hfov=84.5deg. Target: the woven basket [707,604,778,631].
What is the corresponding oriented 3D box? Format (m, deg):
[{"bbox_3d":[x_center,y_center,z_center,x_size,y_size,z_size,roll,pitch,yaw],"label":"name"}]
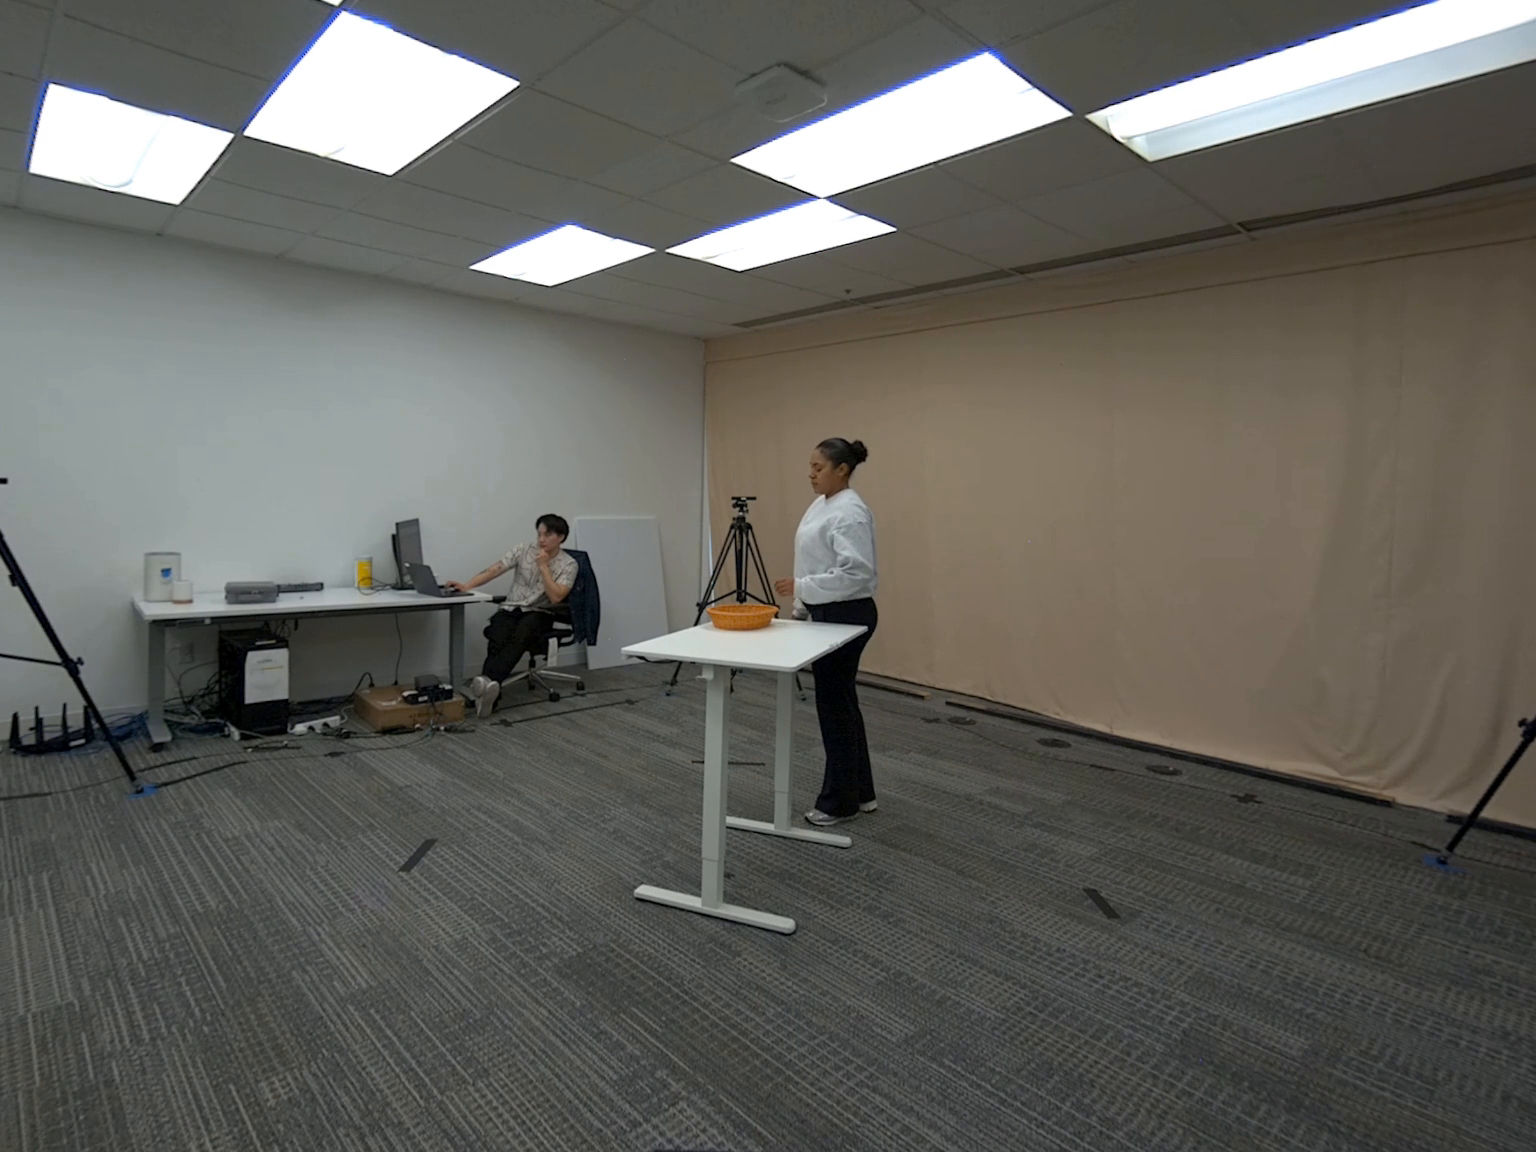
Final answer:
[{"bbox_3d":[-0.113,0.171,3.388,0.258,0.073,0.343,5,6,33],"label":"woven basket"}]
